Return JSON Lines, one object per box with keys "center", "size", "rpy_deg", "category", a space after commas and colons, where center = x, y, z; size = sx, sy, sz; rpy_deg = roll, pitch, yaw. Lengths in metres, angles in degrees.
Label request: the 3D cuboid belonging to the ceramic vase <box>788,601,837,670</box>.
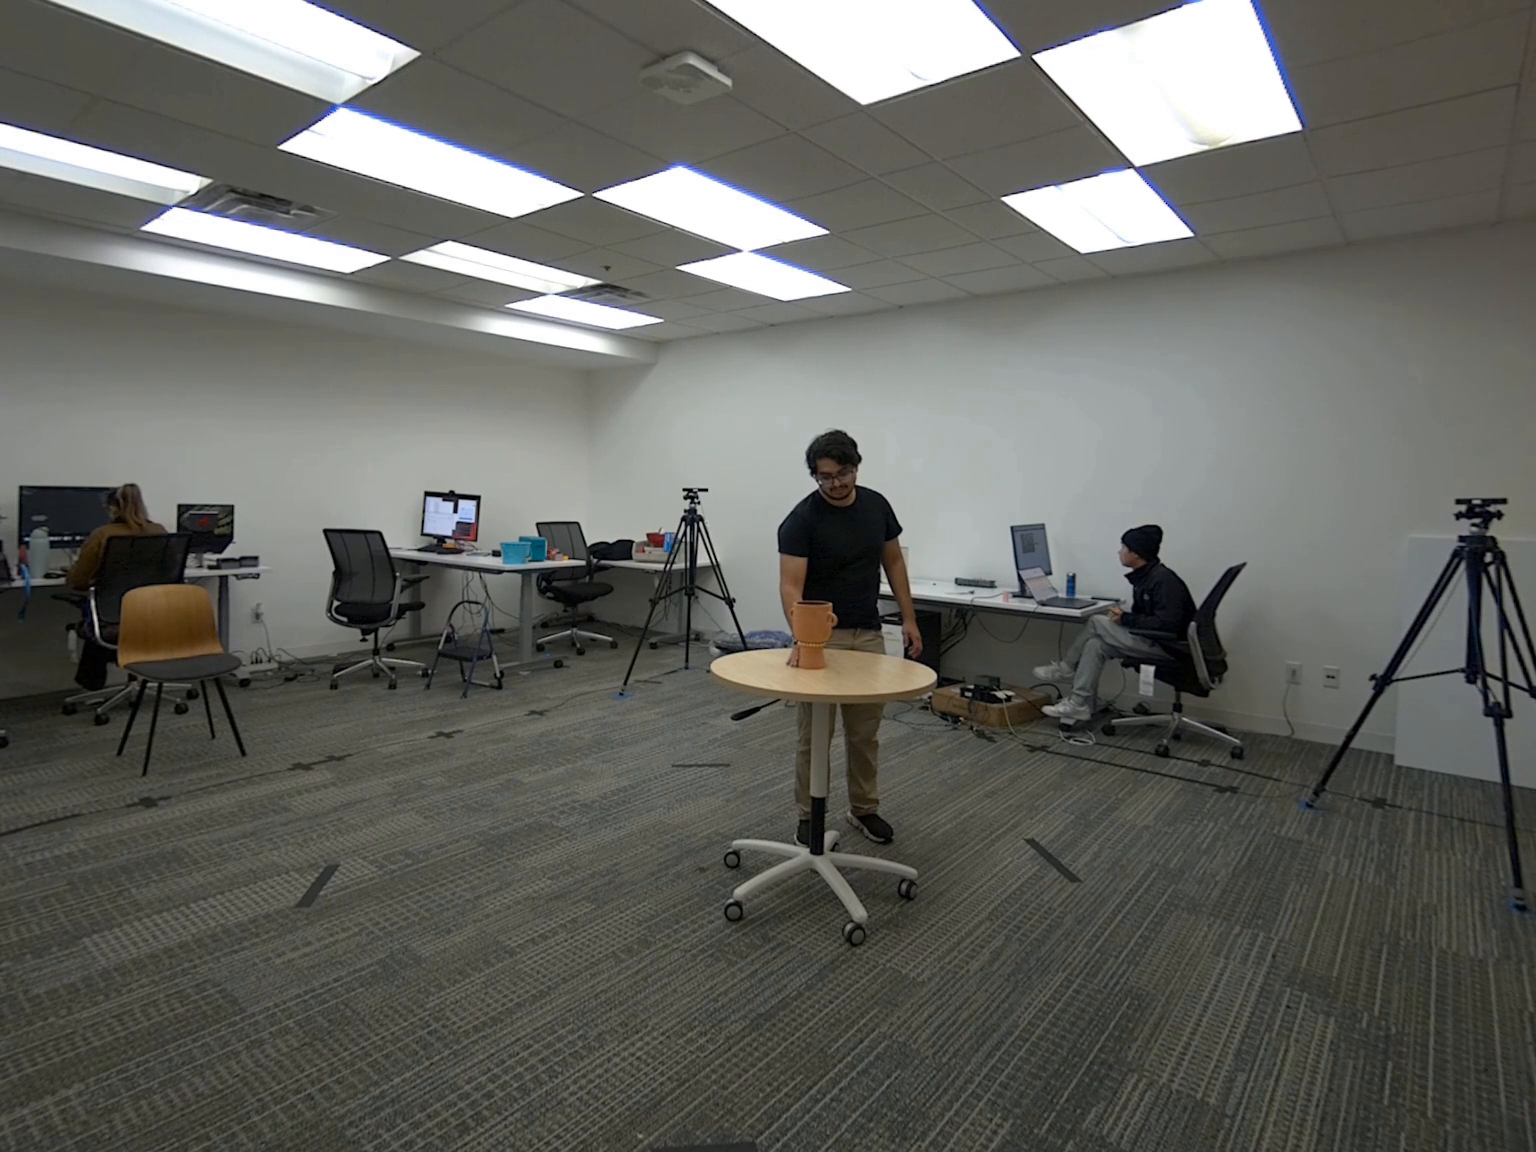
{"center": [0.143, 0.204, 2.945], "size": [0.133, 0.219, 0.161], "rpy_deg": [2, 5, -12], "category": "ceramic vase"}
